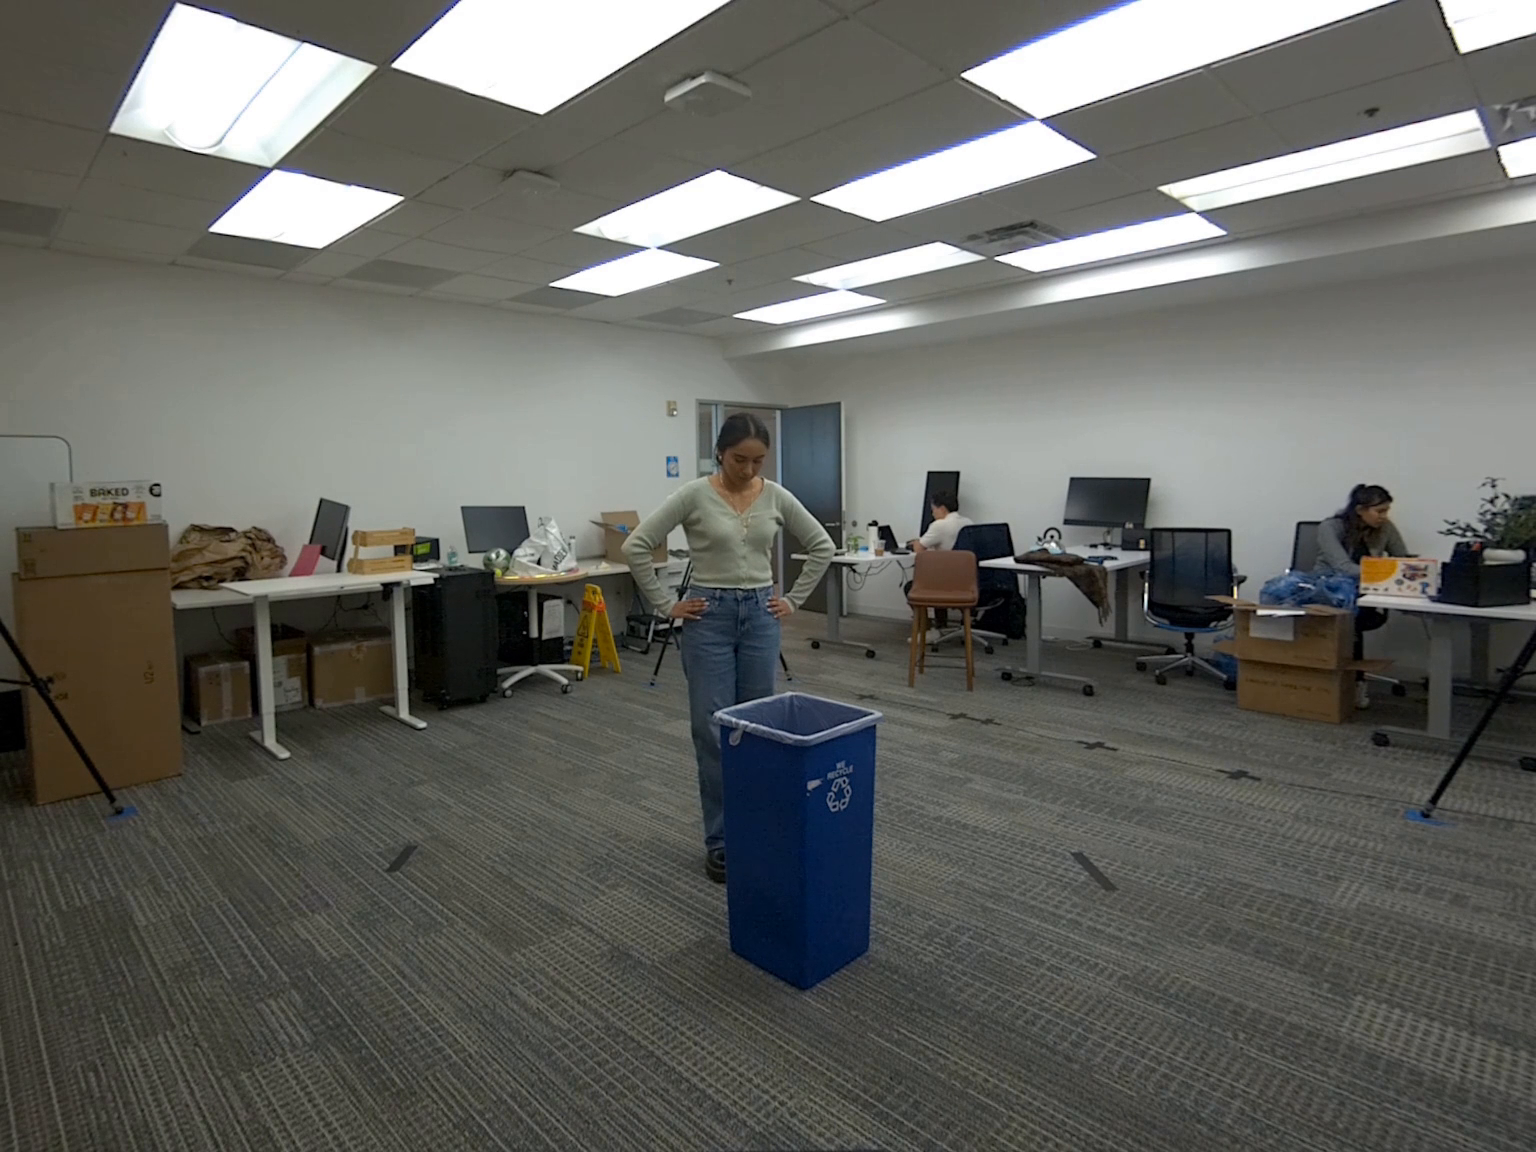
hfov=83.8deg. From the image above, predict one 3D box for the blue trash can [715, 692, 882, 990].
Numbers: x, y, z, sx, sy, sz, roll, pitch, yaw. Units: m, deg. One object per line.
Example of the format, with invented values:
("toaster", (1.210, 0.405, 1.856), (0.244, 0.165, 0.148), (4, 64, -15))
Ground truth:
("blue trash can", (0.101, 0.755, 2.506), (0.385, 0.711, 0.368), (3, 5, 44))
